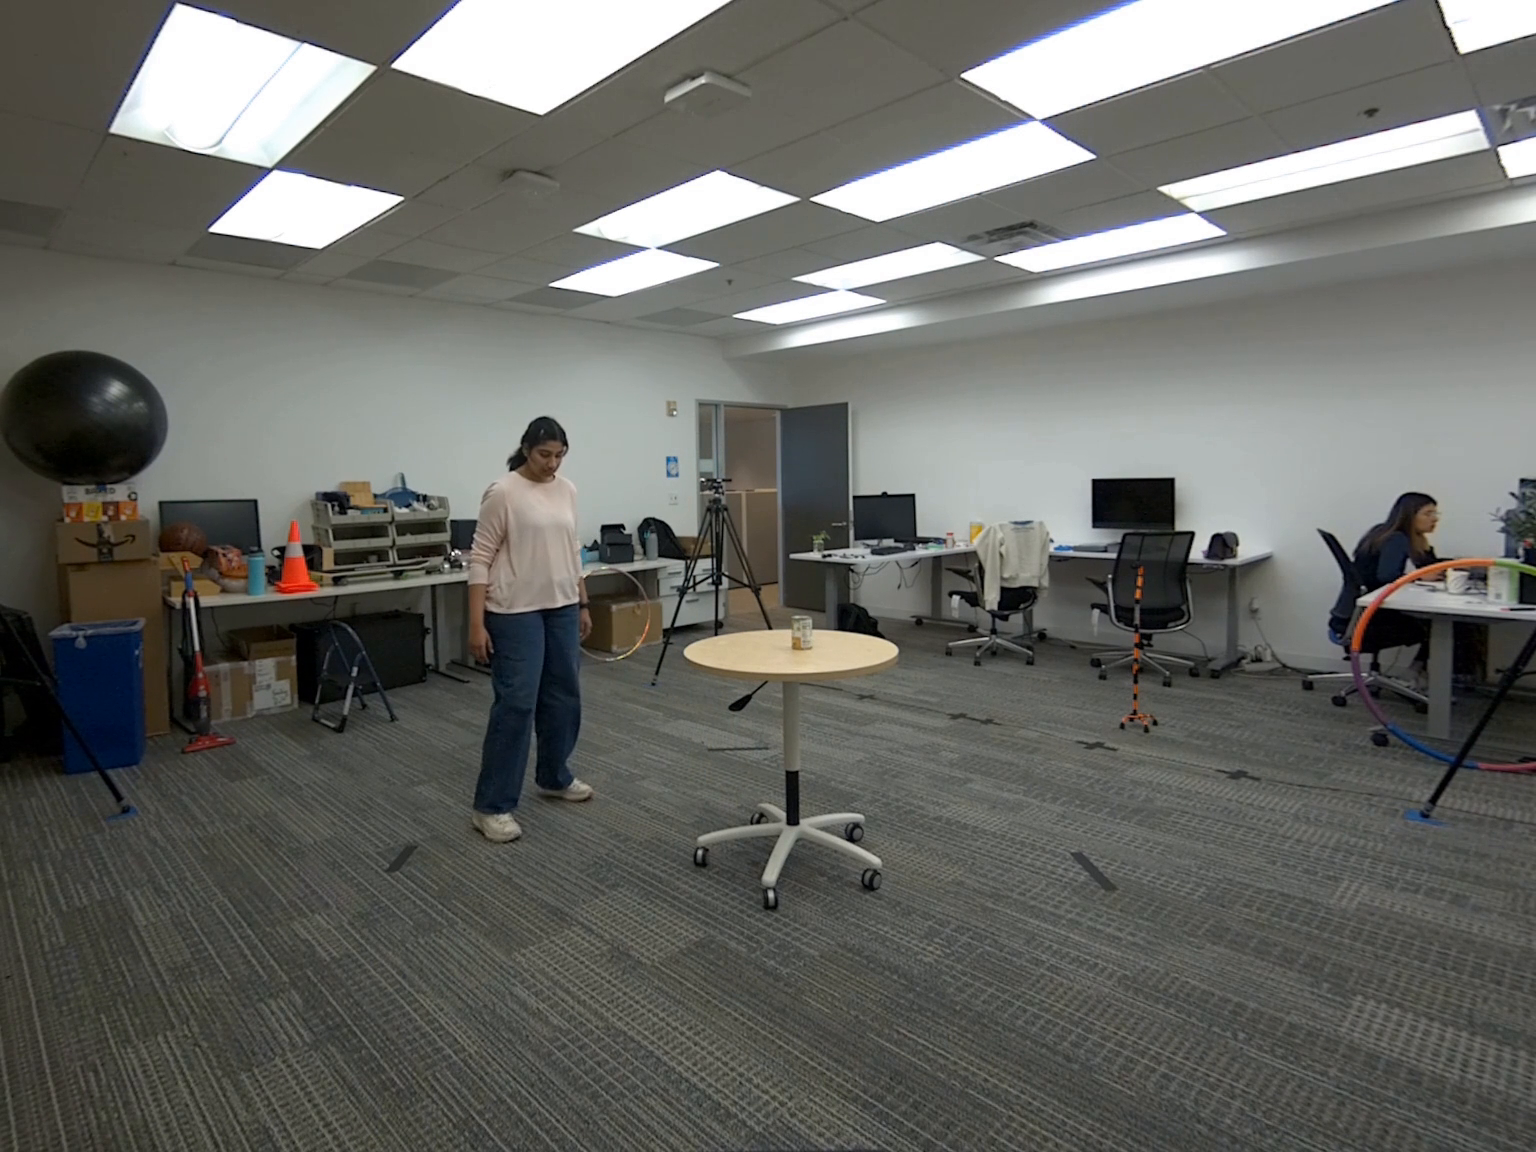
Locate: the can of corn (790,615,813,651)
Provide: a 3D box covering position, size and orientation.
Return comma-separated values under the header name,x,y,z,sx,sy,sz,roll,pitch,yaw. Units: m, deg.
name,x,y,z,sx,sy,sz,roll,pitch,yaw
can of corn,0.120,0.204,3.075,0.074,0.110,0.074,-1,6,-2
